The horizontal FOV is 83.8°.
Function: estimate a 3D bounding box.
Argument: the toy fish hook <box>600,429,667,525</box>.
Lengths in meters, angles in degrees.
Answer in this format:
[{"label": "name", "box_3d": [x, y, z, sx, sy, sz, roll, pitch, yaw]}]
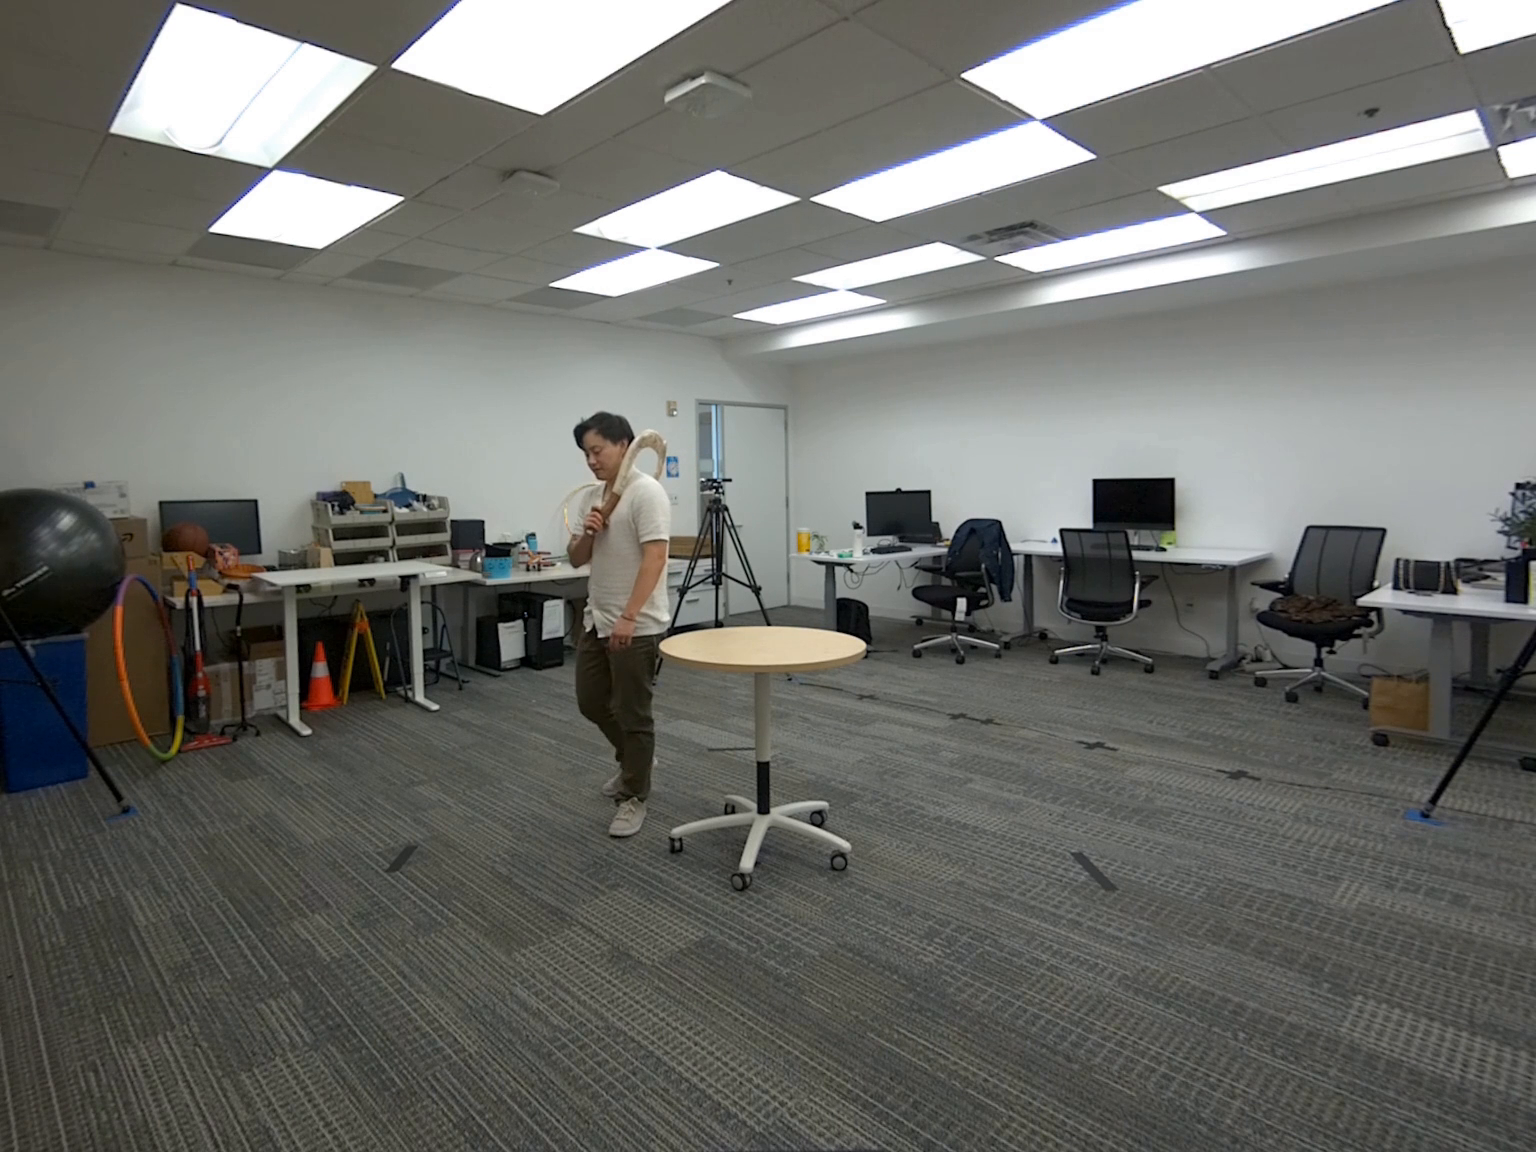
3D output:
[{"label": "toy fish hook", "box_3d": [-0.560, -0.349, 3.421, 0.050, 0.508, 0.216, 18, -16, 41]}]
